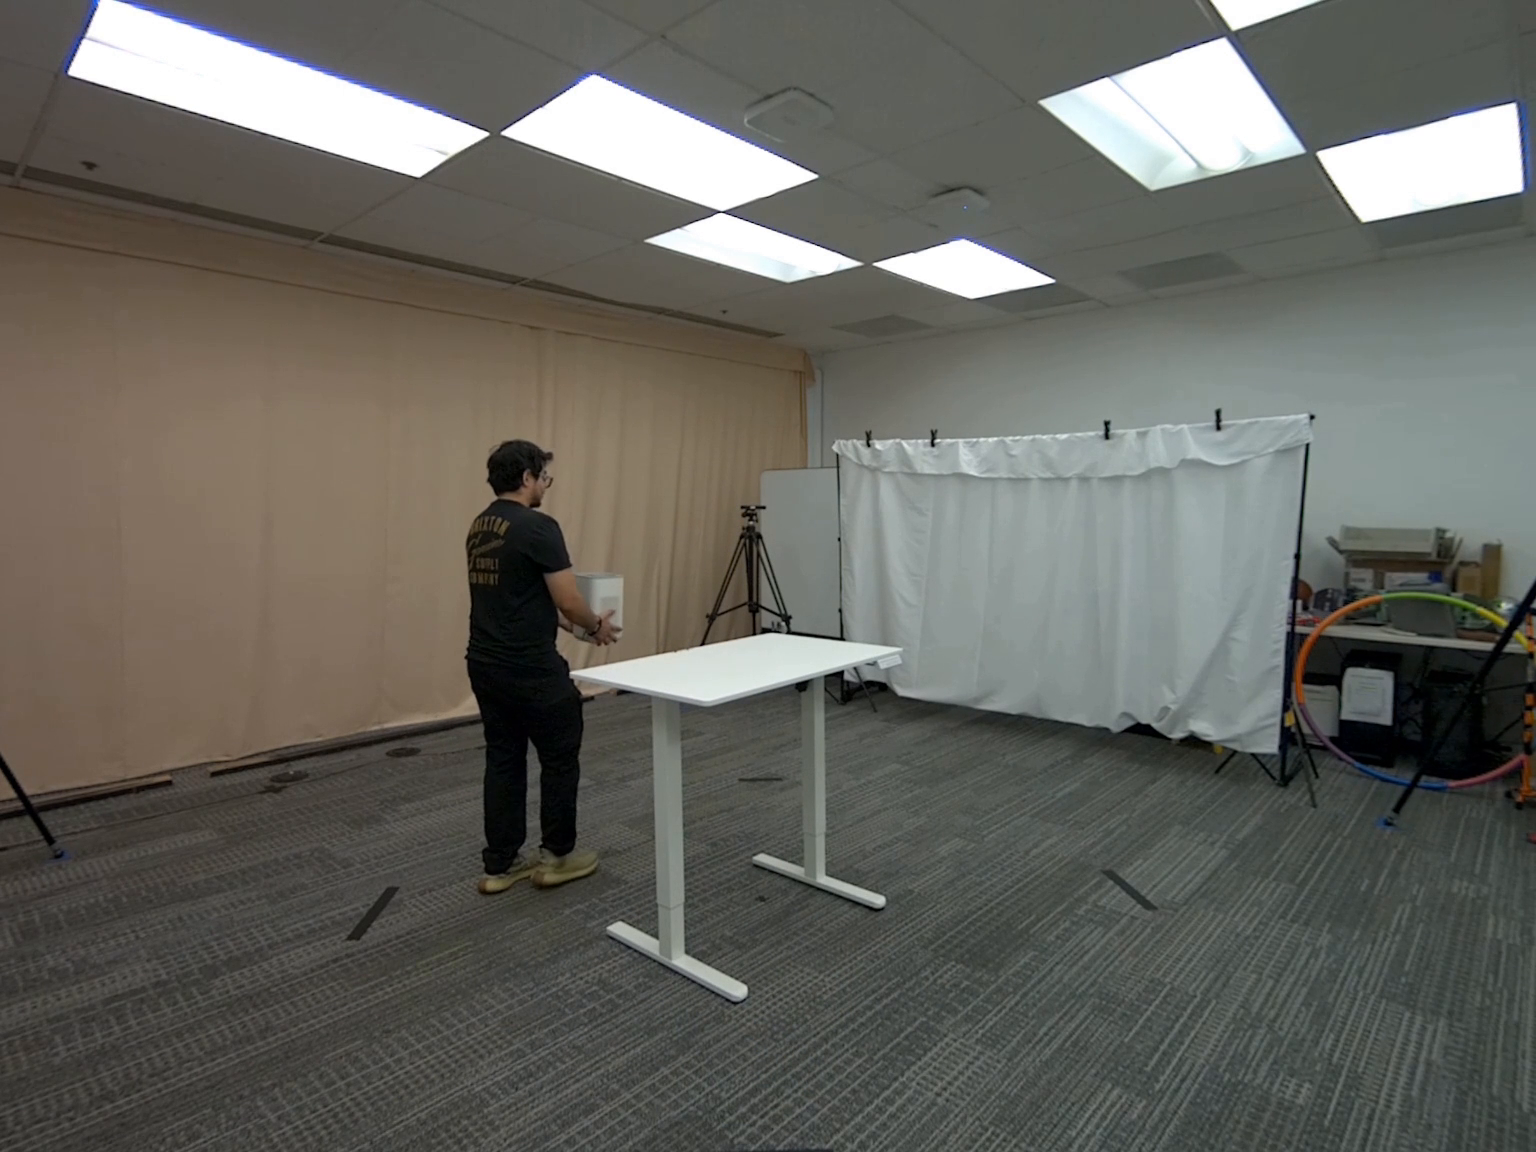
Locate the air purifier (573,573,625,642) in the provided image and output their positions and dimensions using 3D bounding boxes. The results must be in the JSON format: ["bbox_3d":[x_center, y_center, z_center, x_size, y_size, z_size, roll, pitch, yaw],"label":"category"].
[{"bbox_3d":[-0.681,0.126,3.379,0.177,0.264,0.166,7,7,43],"label":"air purifier"}]
